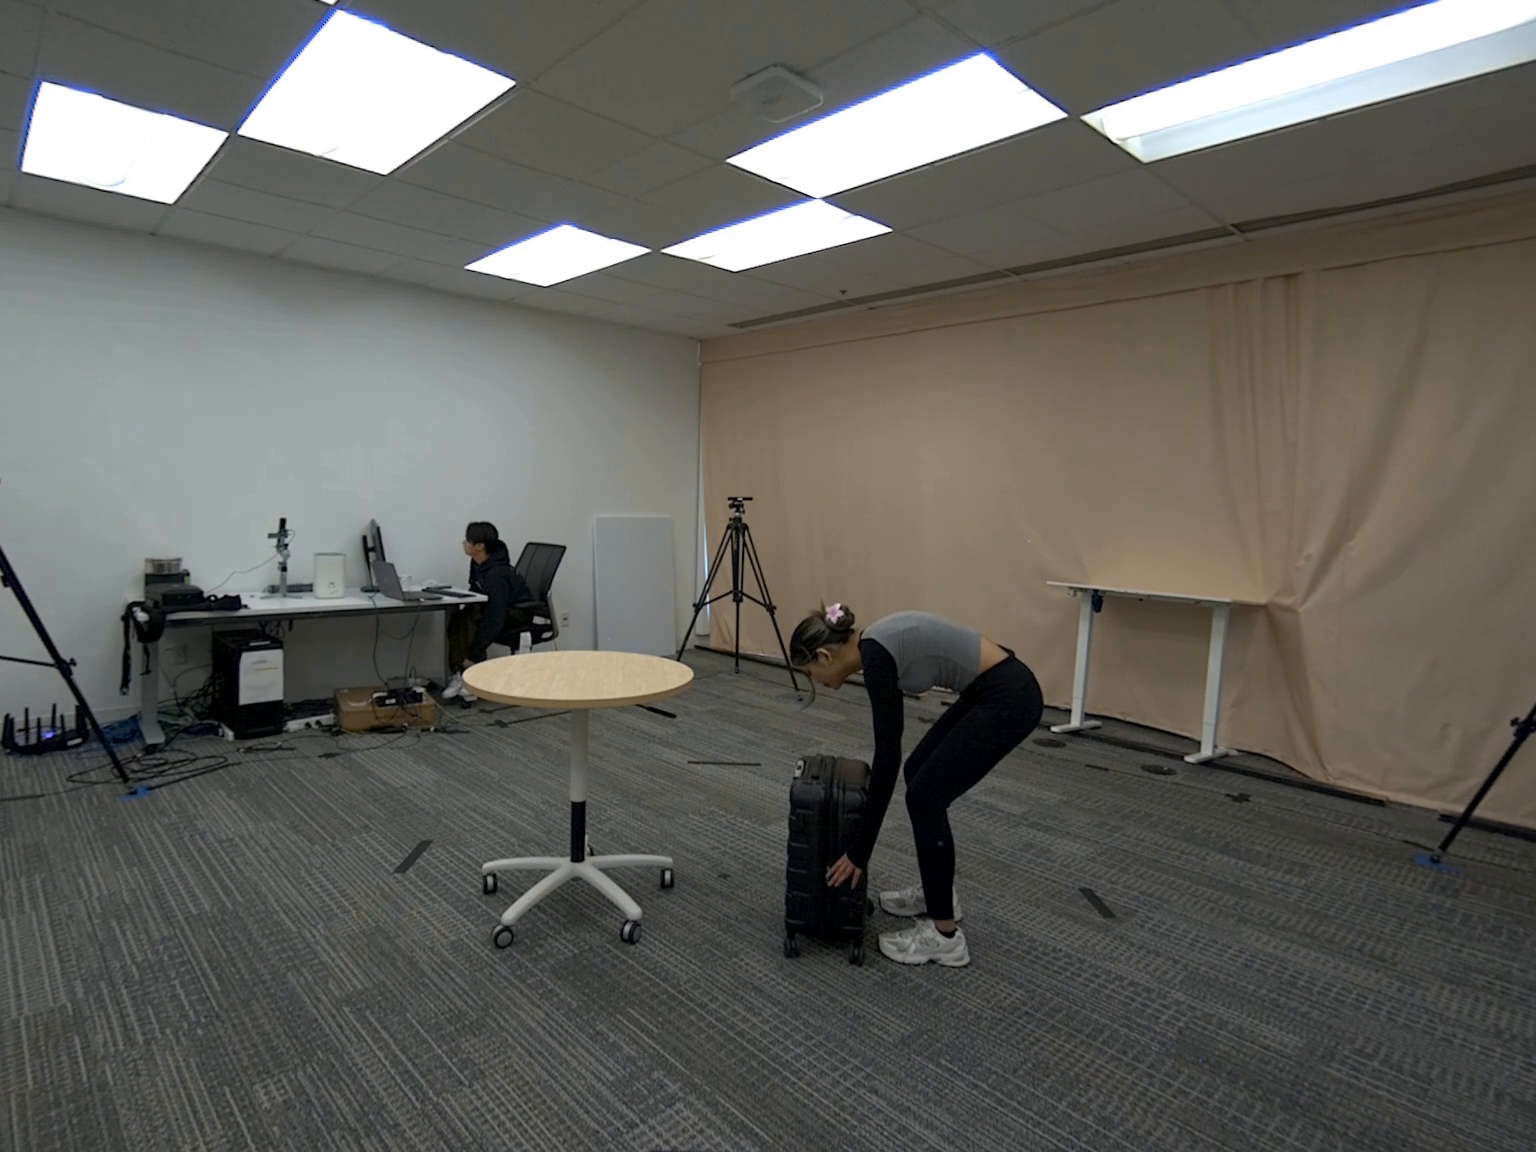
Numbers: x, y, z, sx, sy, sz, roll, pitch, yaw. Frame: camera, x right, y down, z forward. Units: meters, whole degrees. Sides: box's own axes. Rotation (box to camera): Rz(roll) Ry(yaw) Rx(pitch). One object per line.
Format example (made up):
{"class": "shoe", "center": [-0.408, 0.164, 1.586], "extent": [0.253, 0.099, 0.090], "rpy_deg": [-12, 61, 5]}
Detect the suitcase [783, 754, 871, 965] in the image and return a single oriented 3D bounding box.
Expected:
{"class": "suitcase", "center": [0.202, 0.881, 2.697], "extent": [0.250, 0.548, 0.374], "rpy_deg": [3, 3, 5]}
